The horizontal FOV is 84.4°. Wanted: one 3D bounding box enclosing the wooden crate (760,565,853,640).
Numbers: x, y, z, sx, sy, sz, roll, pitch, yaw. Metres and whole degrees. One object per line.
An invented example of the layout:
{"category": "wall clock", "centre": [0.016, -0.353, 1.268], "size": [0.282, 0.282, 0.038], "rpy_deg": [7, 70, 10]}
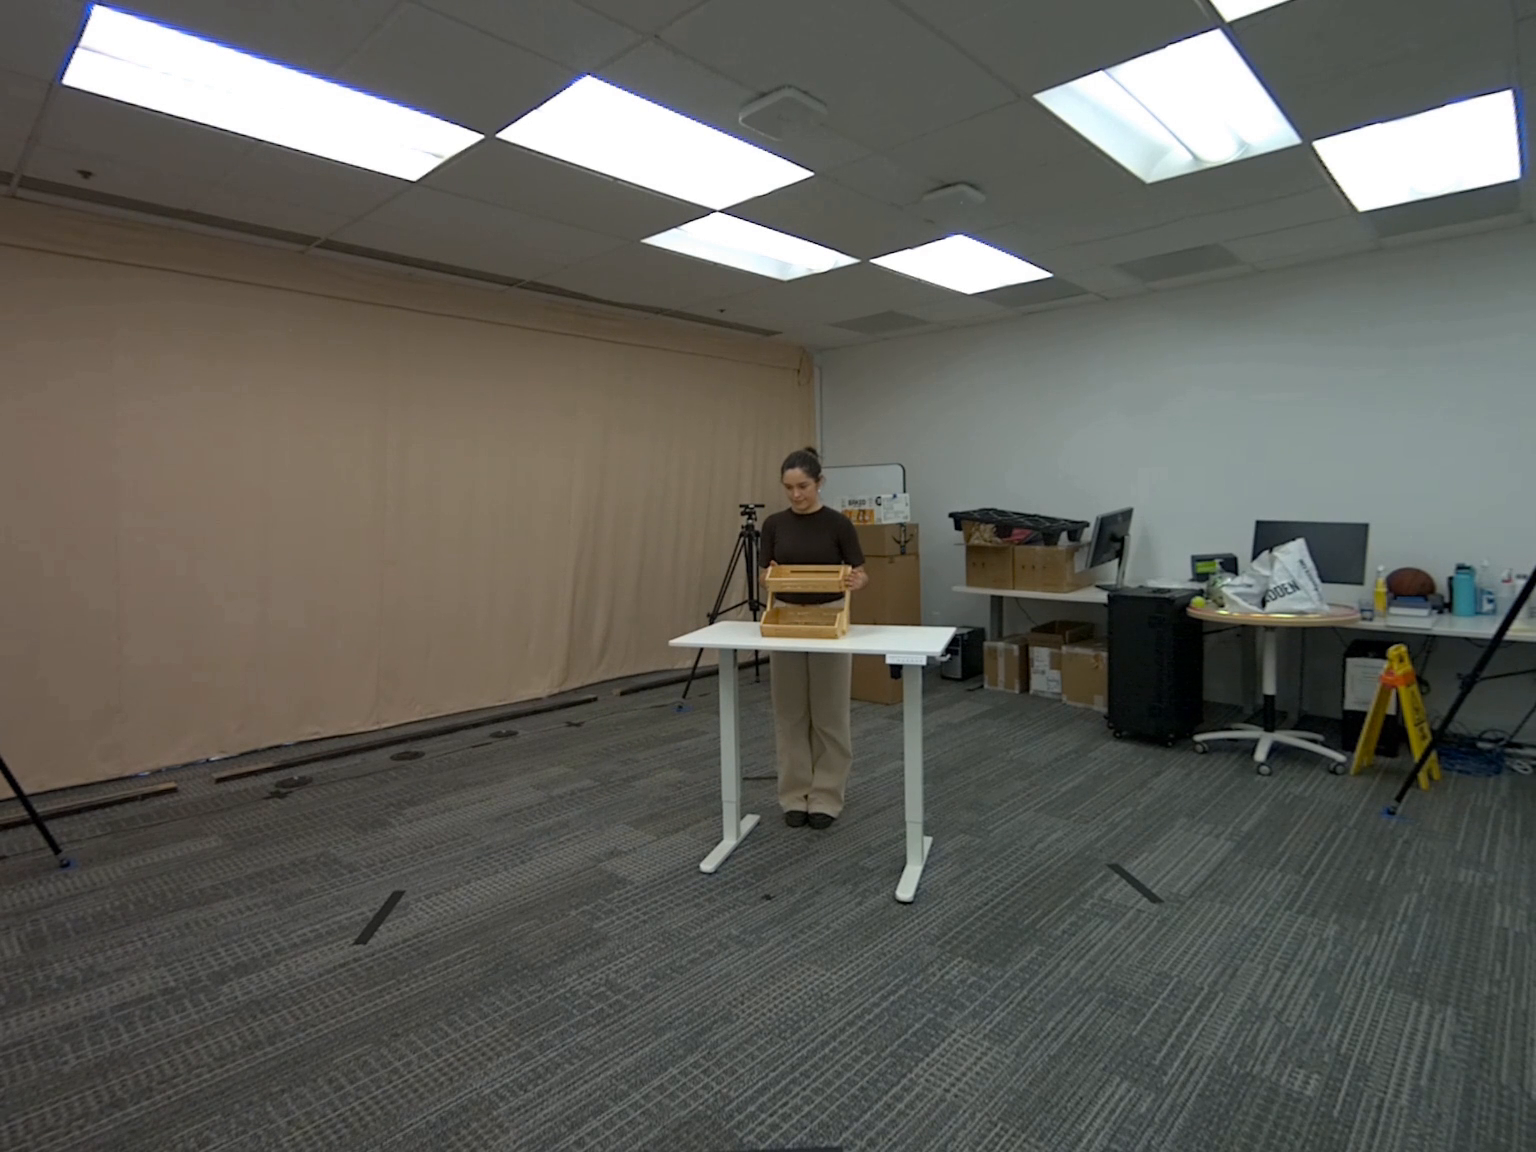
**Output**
{"category": "wooden crate", "centre": [0.153, 0.092, 3.319], "size": [0.331, 0.273, 0.297], "rpy_deg": [0, 3, 17]}
